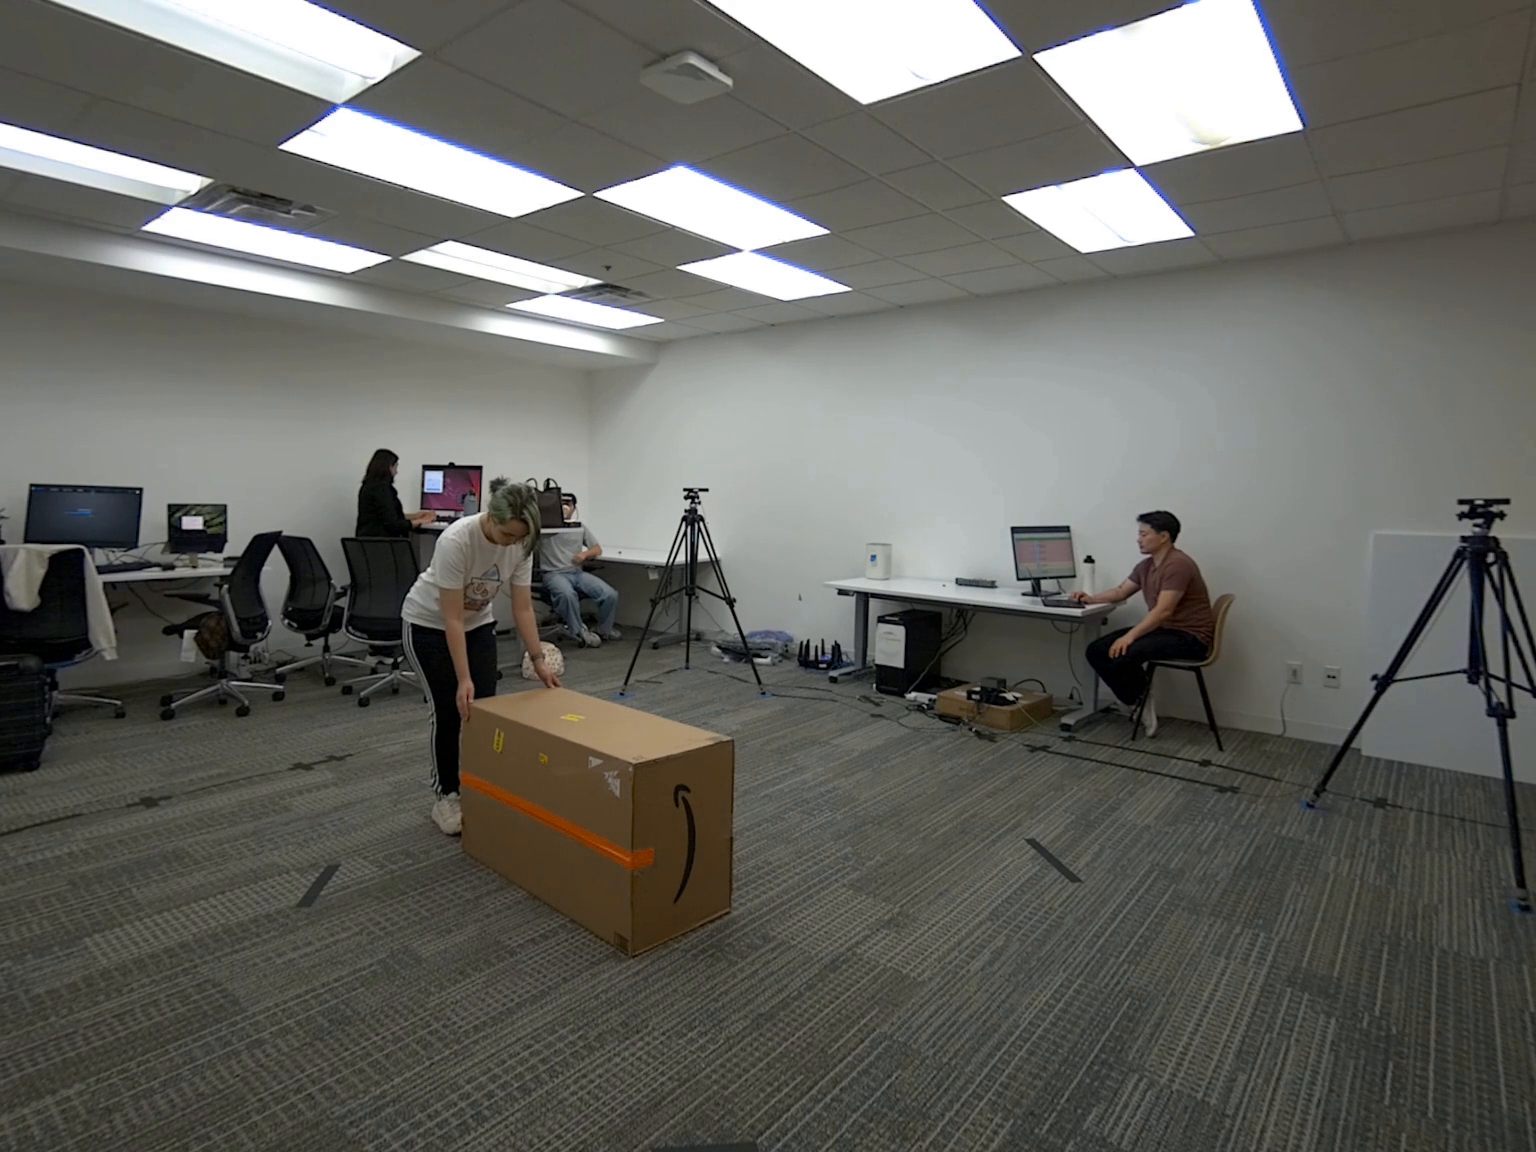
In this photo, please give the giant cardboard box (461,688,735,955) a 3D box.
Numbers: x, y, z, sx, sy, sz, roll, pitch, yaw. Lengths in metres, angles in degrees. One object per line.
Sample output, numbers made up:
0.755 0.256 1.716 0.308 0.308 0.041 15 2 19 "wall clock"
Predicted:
-0.646 0.785 2.994 1.062 0.582 0.433 5 6 43 "giant cardboard box"
